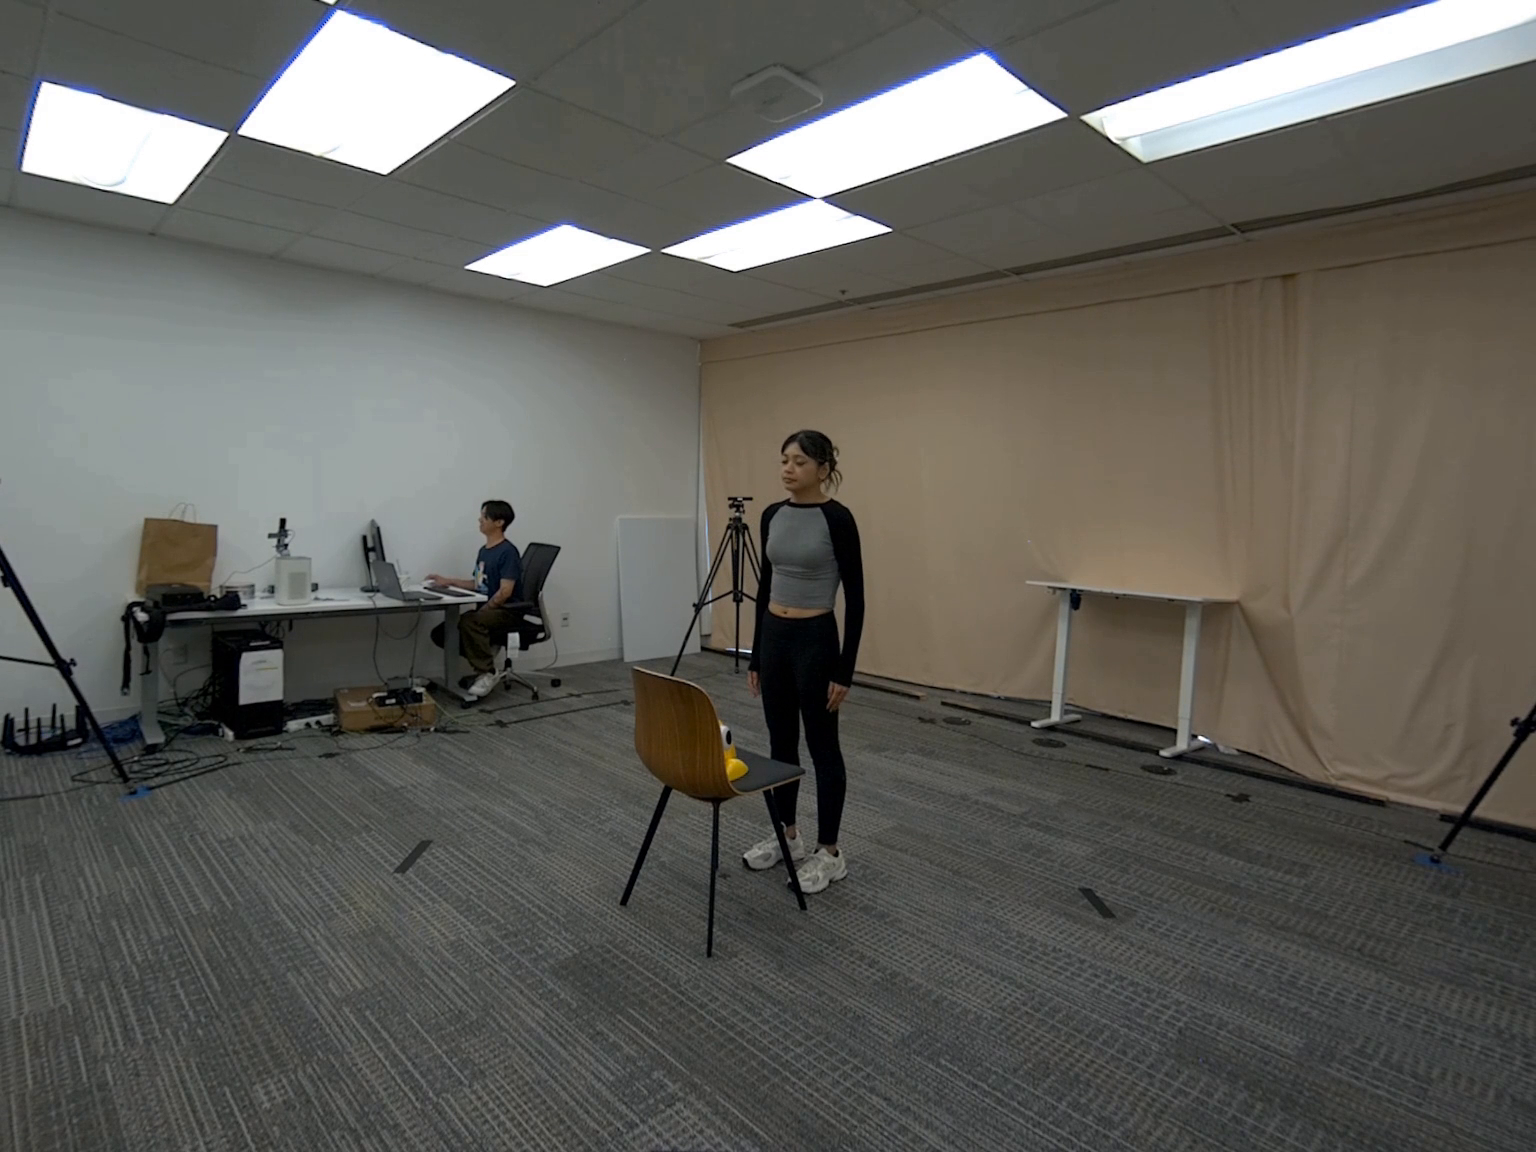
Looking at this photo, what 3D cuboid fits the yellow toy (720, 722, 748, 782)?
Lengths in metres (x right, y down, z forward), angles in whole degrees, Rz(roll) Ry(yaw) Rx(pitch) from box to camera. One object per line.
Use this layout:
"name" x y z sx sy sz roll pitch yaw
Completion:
"yellow toy" -0.180 0.549 2.802 0.189 0.229 0.210 -8 8 -41
